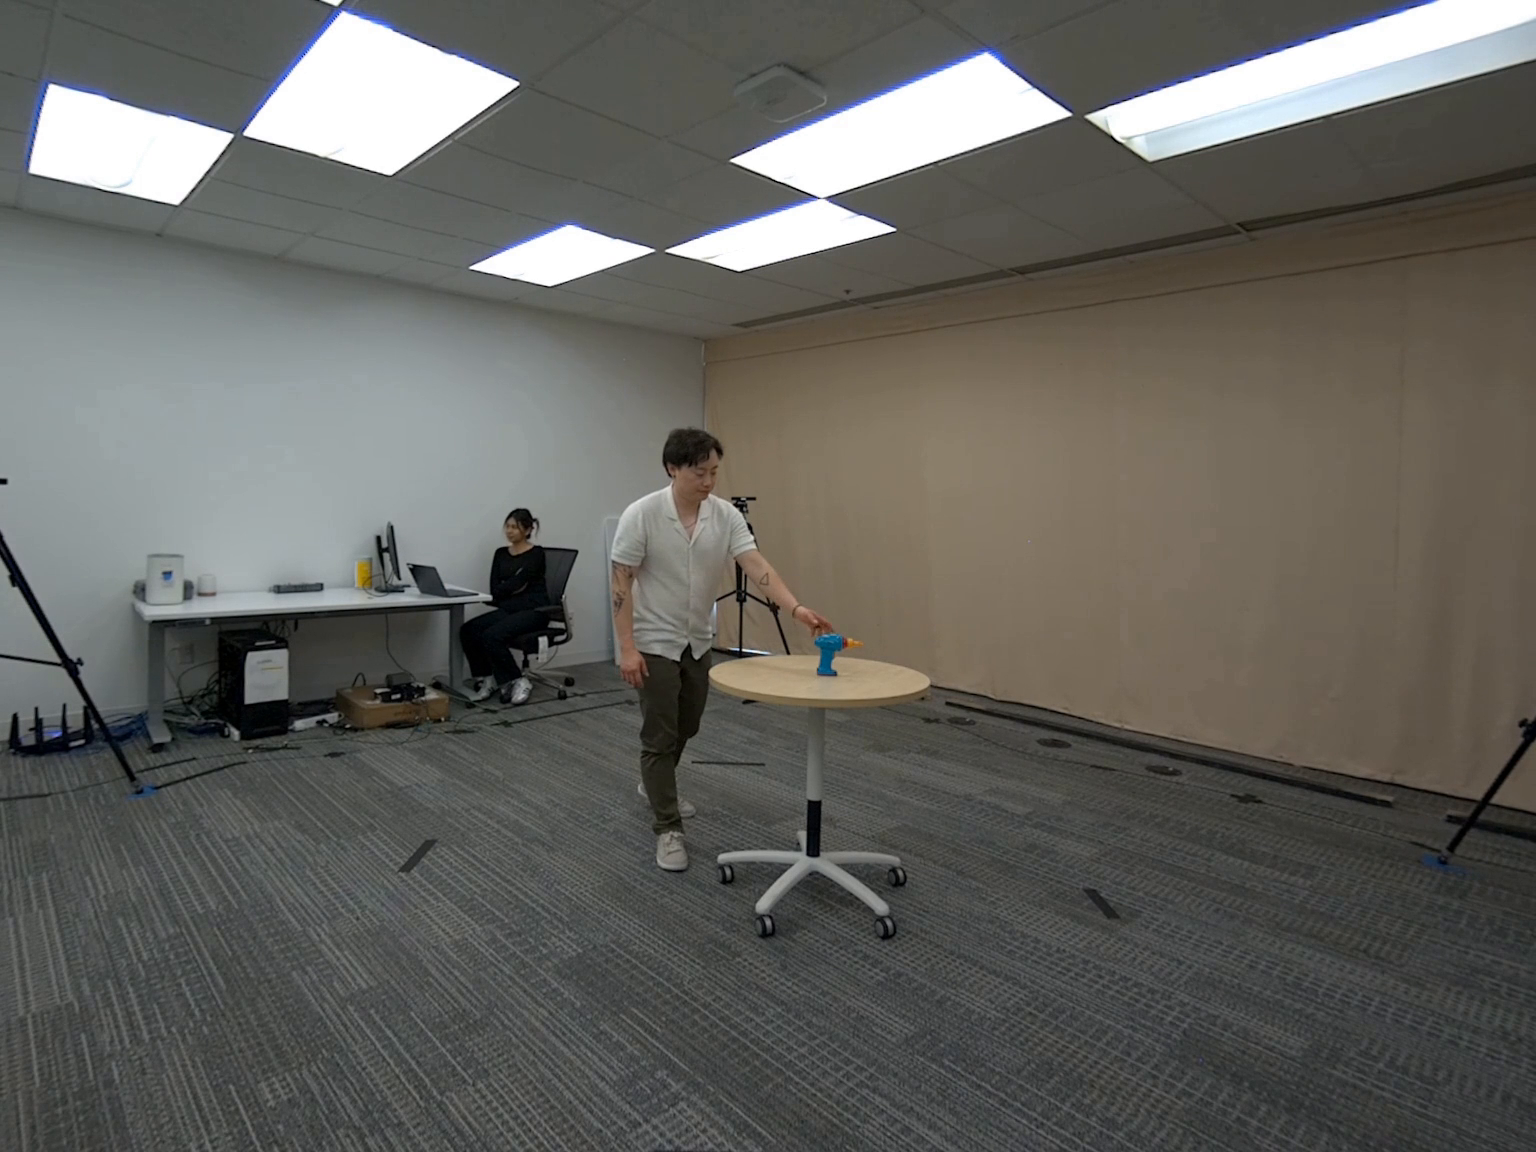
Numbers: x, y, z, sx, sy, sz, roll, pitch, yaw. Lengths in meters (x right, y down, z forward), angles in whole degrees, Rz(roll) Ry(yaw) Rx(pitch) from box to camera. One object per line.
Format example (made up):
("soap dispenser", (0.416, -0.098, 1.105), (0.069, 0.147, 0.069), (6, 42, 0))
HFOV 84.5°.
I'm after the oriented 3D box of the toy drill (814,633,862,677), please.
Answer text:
("toy drill", (0.240, 0.274, 2.940), (0.170, 0.146, 0.061), (1, 1, -1))
